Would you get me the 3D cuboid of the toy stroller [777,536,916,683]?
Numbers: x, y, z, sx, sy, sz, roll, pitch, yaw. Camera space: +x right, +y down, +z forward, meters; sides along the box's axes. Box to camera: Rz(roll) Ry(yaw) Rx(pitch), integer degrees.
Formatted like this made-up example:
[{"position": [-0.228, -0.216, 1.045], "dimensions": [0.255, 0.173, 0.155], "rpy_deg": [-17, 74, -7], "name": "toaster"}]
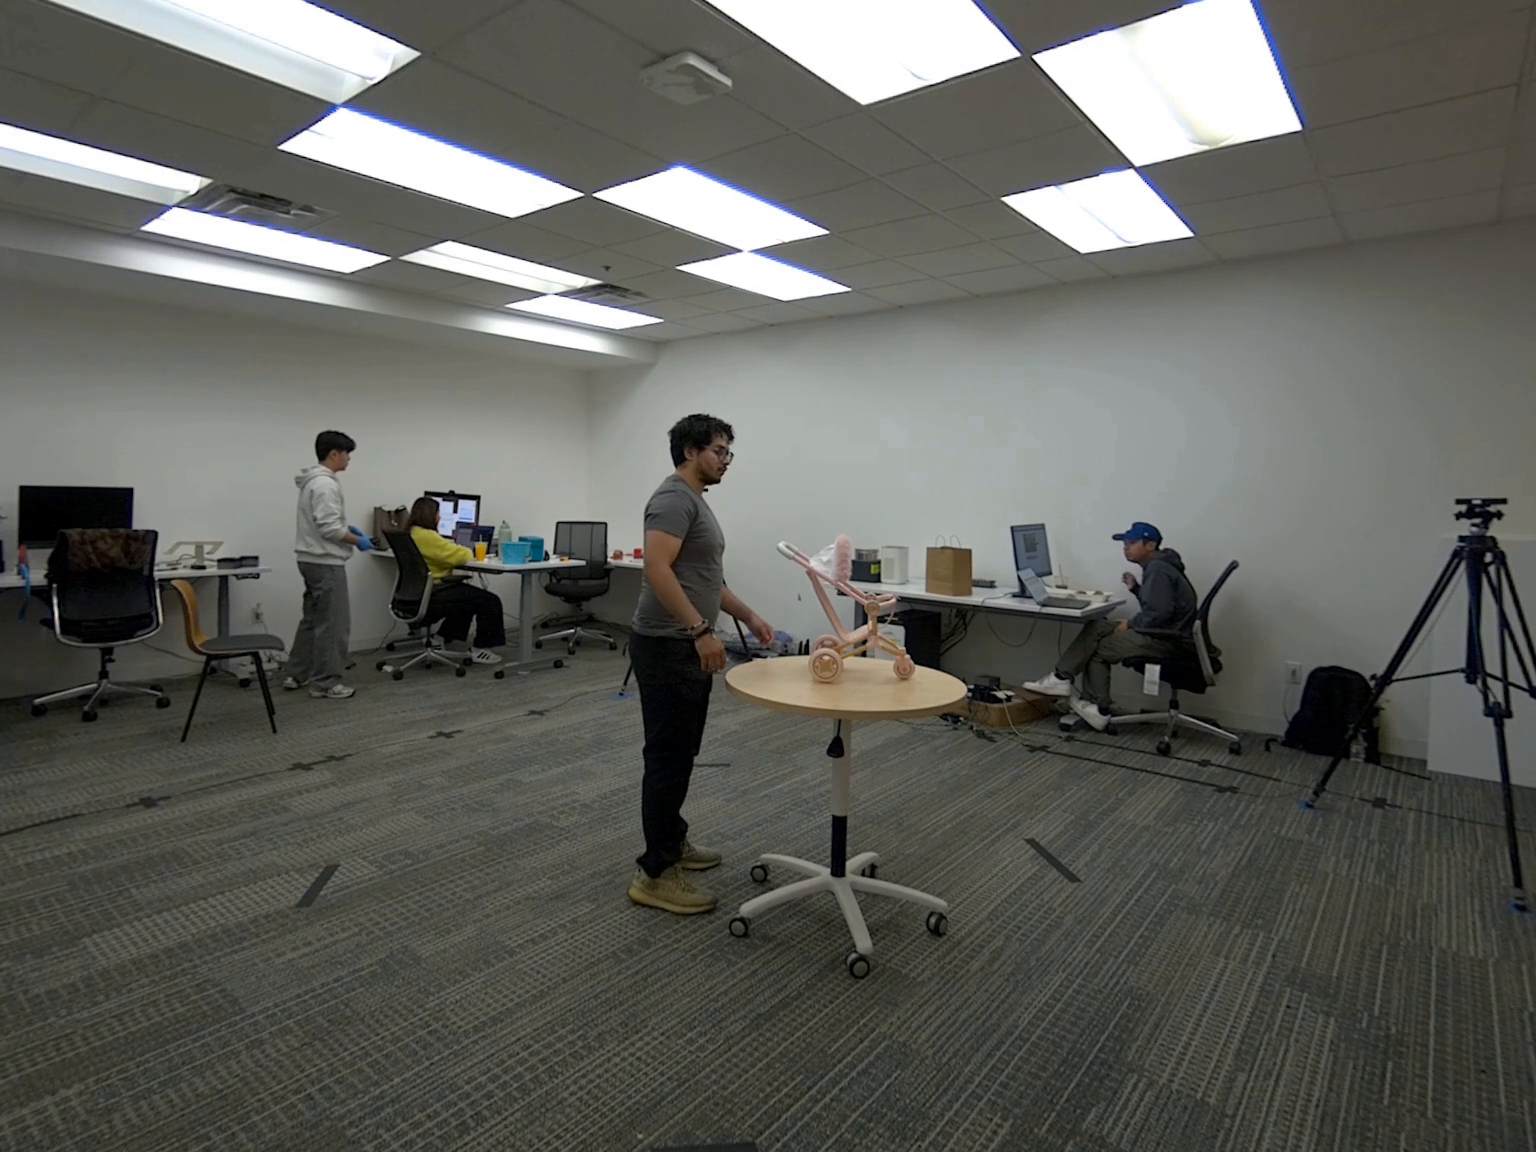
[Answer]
[{"position": [0.264, 0.107, 2.789], "dimensions": [0.345, 0.535, 0.279], "rpy_deg": [-14, 1, 12], "name": "toy stroller"}]
